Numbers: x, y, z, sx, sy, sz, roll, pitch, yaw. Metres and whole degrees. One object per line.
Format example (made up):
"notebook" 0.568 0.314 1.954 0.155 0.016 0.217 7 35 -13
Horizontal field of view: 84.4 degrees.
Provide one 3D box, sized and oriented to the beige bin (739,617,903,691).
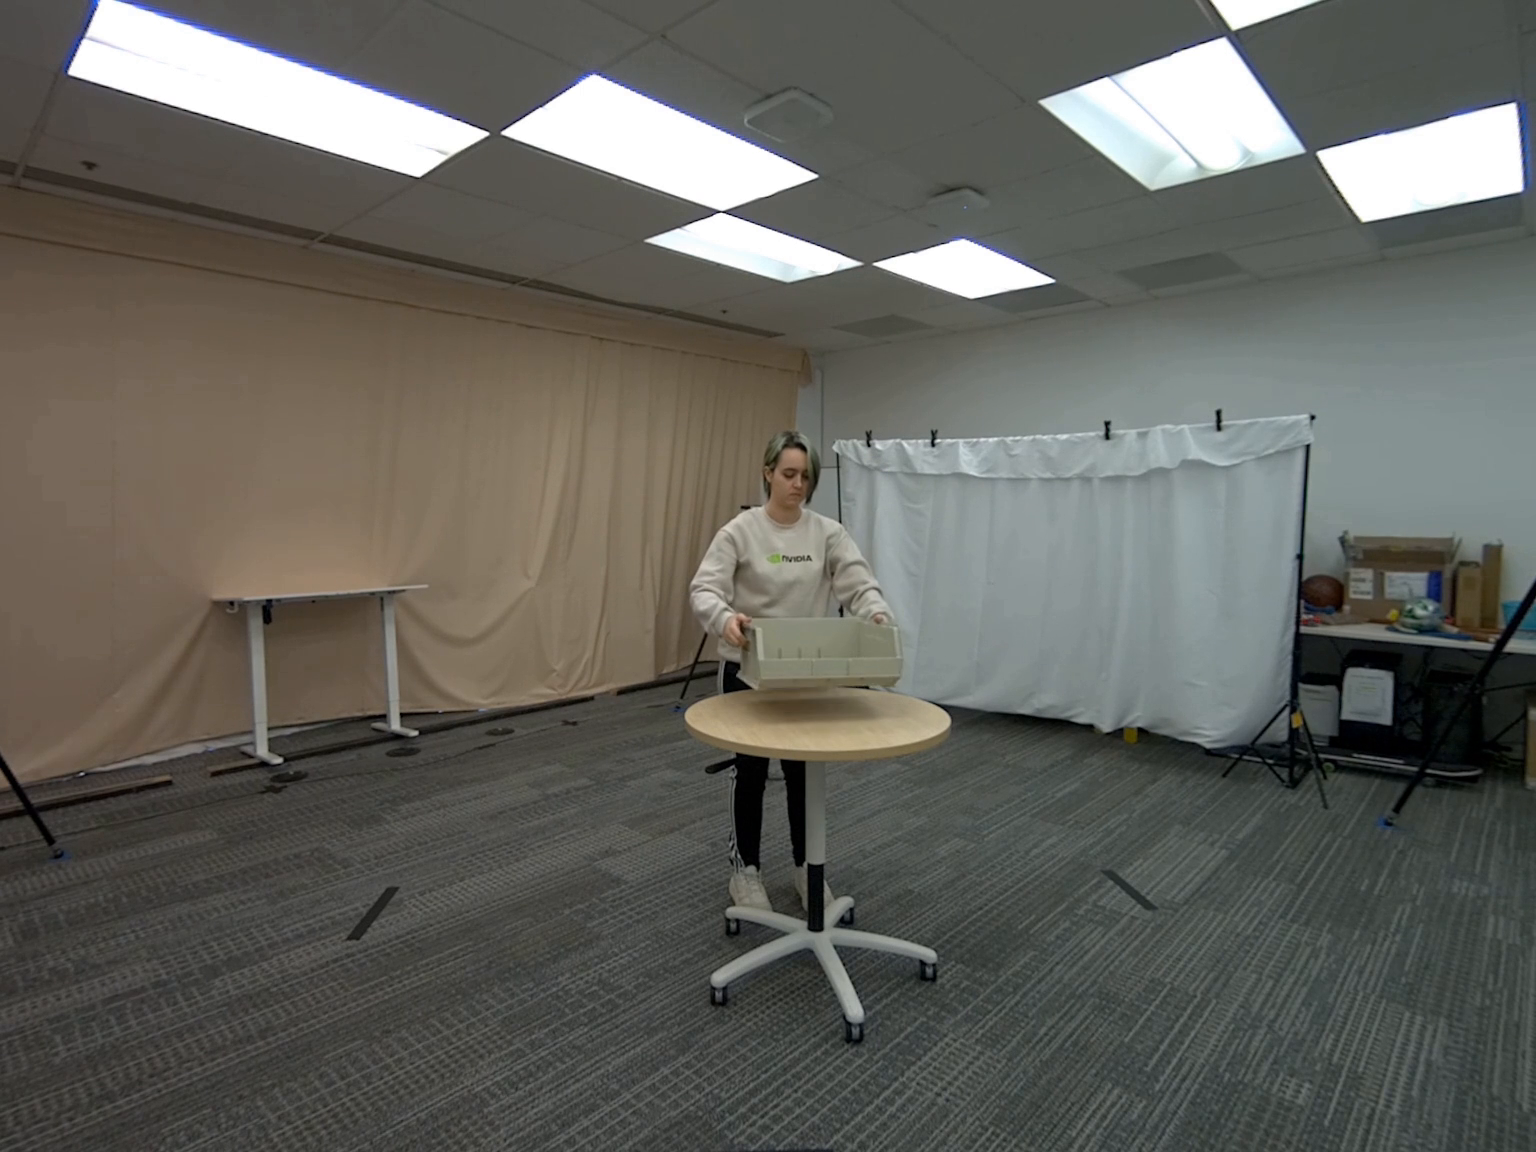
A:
"beige bin" 0.140 0.224 2.506 0.418 0.189 0.381 0 0 -11
